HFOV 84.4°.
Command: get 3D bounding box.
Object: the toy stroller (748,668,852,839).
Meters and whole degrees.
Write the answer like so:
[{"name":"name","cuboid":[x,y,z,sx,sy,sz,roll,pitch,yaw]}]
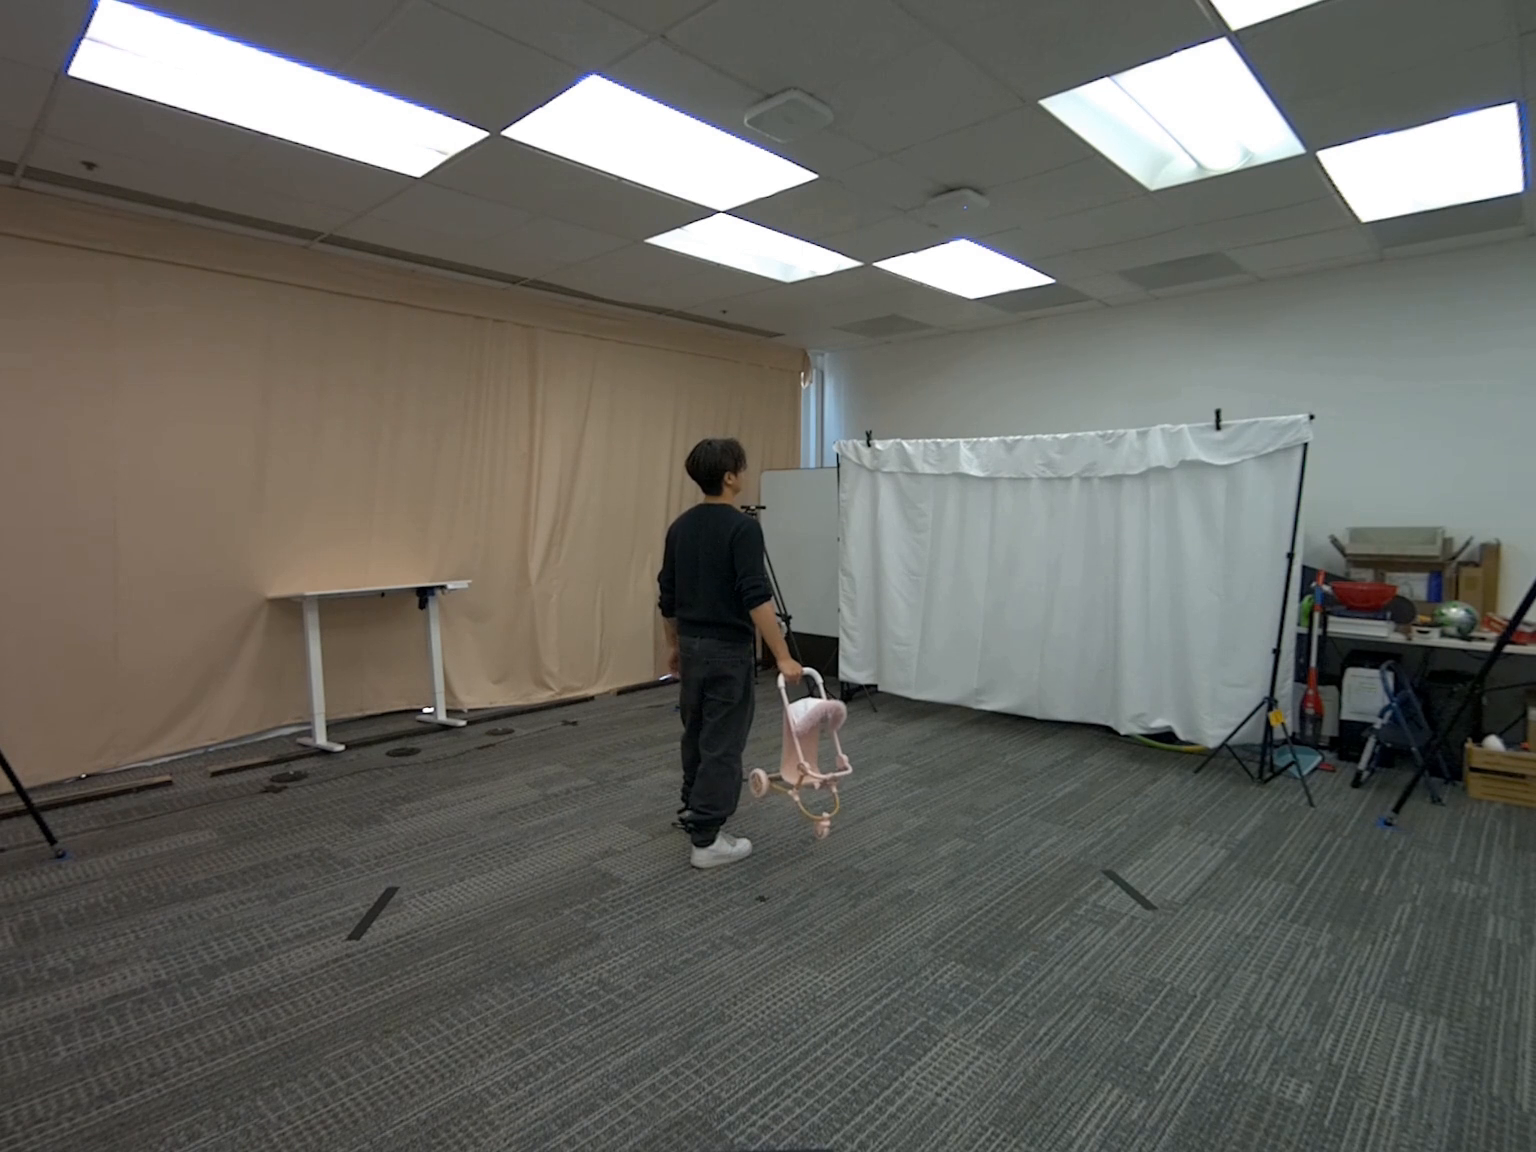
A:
[{"name":"toy stroller","cuboid":[0.154,0.655,3.076,0.273,0.532,0.353,3,14,-33]}]
